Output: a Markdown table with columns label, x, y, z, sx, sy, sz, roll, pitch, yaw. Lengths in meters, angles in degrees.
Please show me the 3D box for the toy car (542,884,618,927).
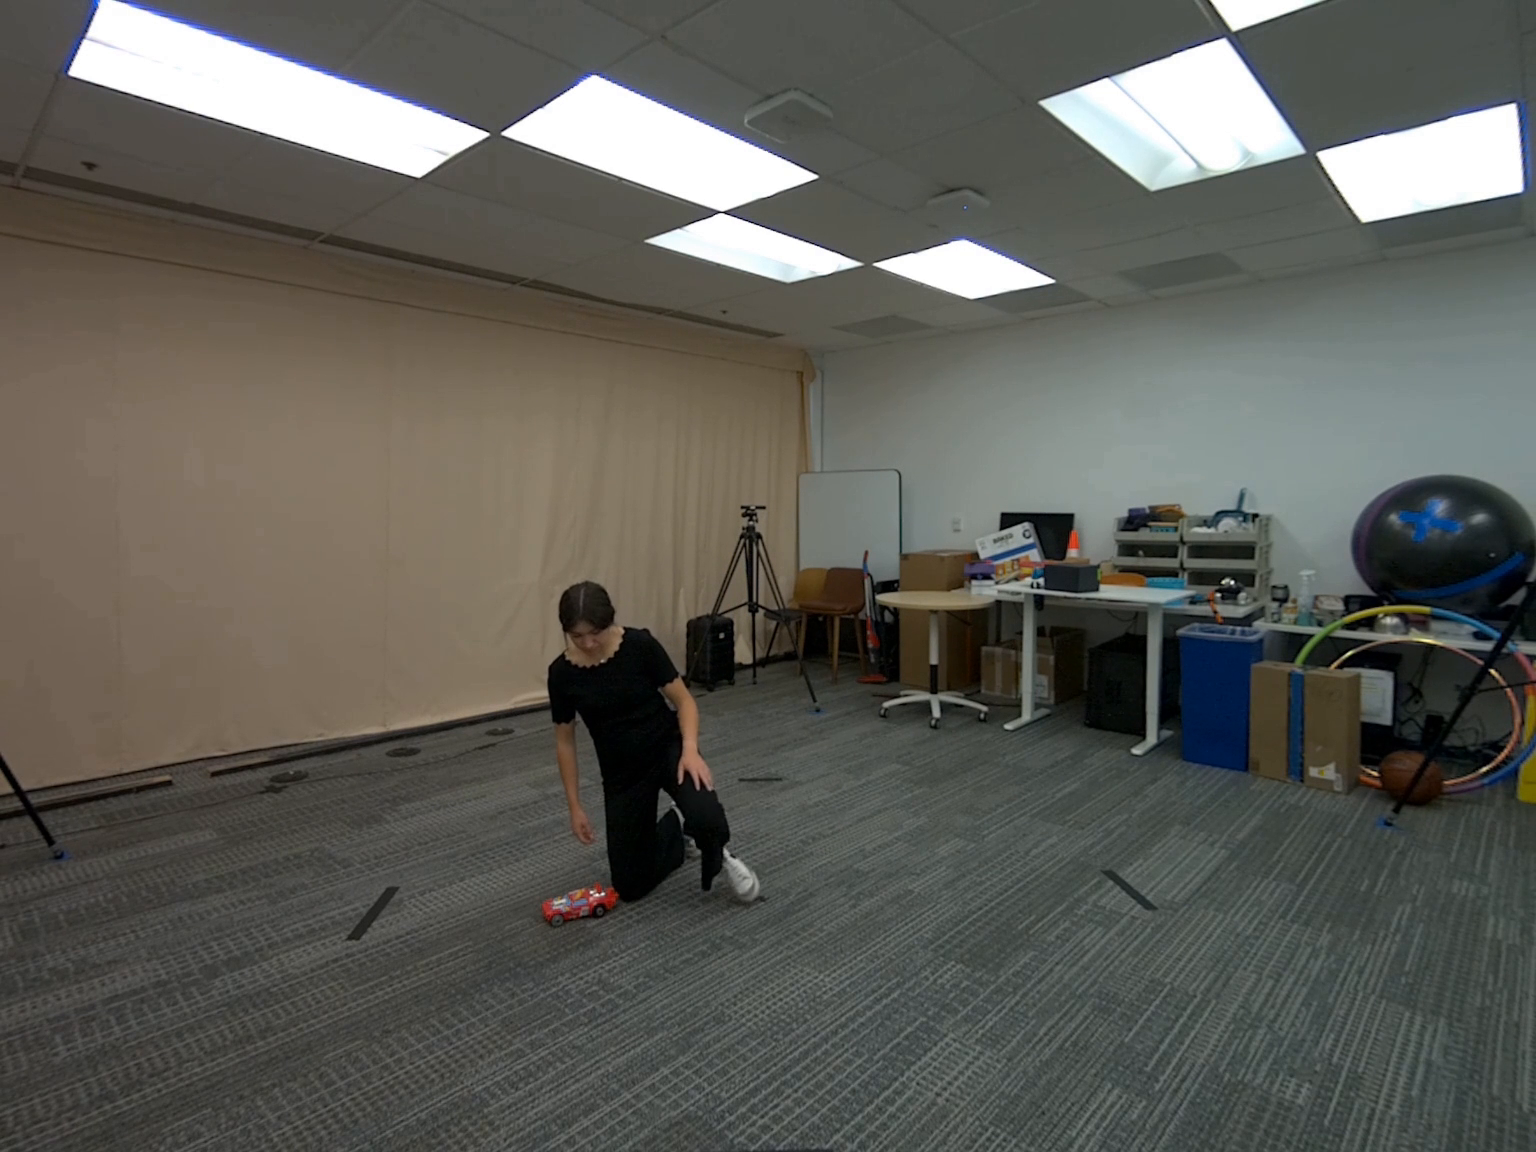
| label | x | y | z | sx | sy | sz | roll | pitch | yaw |
| --- | --- | --- | --- | --- | --- | --- | --- | --- | --- |
| toy car | -0.643 | 1.129 | 2.886 | 0.250 | 0.083 | 0.133 | -14 | 8 | -23 |
